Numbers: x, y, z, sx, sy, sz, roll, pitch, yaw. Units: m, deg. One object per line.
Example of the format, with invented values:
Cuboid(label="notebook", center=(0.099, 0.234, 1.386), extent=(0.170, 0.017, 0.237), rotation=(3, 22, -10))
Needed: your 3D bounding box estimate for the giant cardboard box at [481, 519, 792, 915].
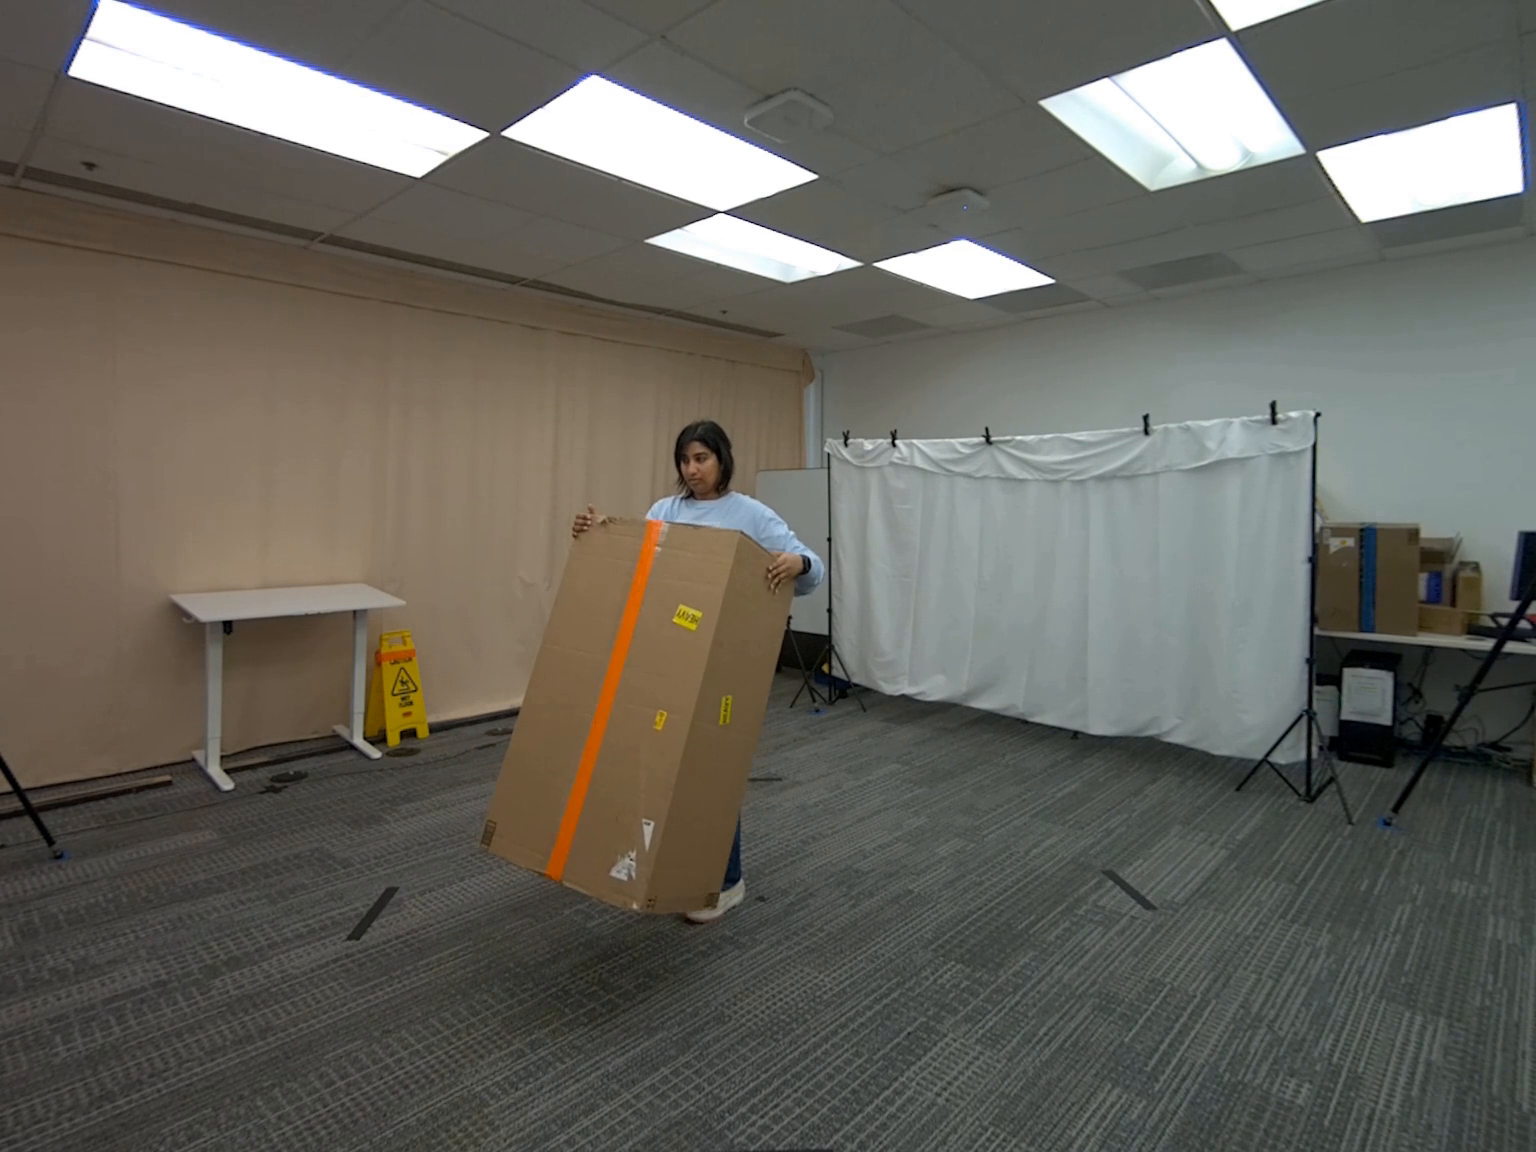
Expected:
Cuboid(label="giant cardboard box", center=(-0.358, 0.386, 2.515), extent=(0.602, 1.031, 0.431), rotation=(6, -15, 31))
